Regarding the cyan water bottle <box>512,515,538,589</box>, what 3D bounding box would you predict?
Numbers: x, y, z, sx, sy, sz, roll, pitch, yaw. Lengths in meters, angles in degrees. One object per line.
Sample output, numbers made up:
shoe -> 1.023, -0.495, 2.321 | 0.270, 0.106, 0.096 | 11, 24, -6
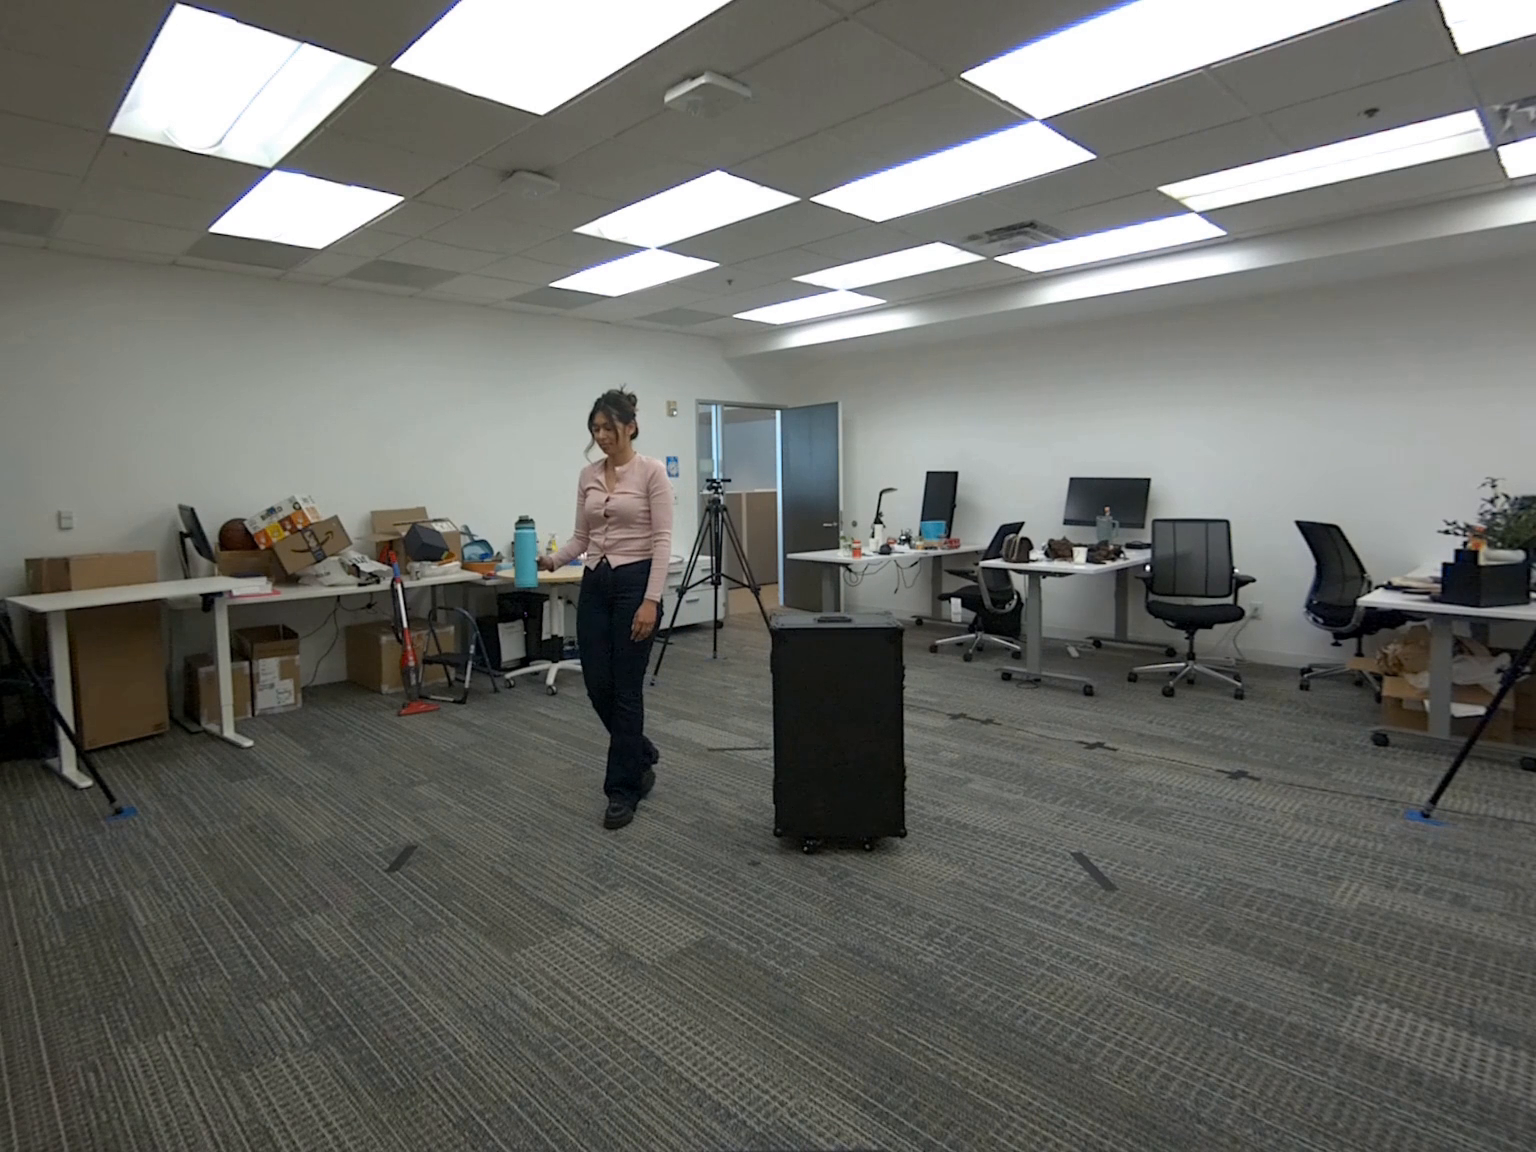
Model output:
cyan water bottle -> -0.961, -0.097, 3.386 | 0.092, 0.284, 0.092 | -3, -3, -2
